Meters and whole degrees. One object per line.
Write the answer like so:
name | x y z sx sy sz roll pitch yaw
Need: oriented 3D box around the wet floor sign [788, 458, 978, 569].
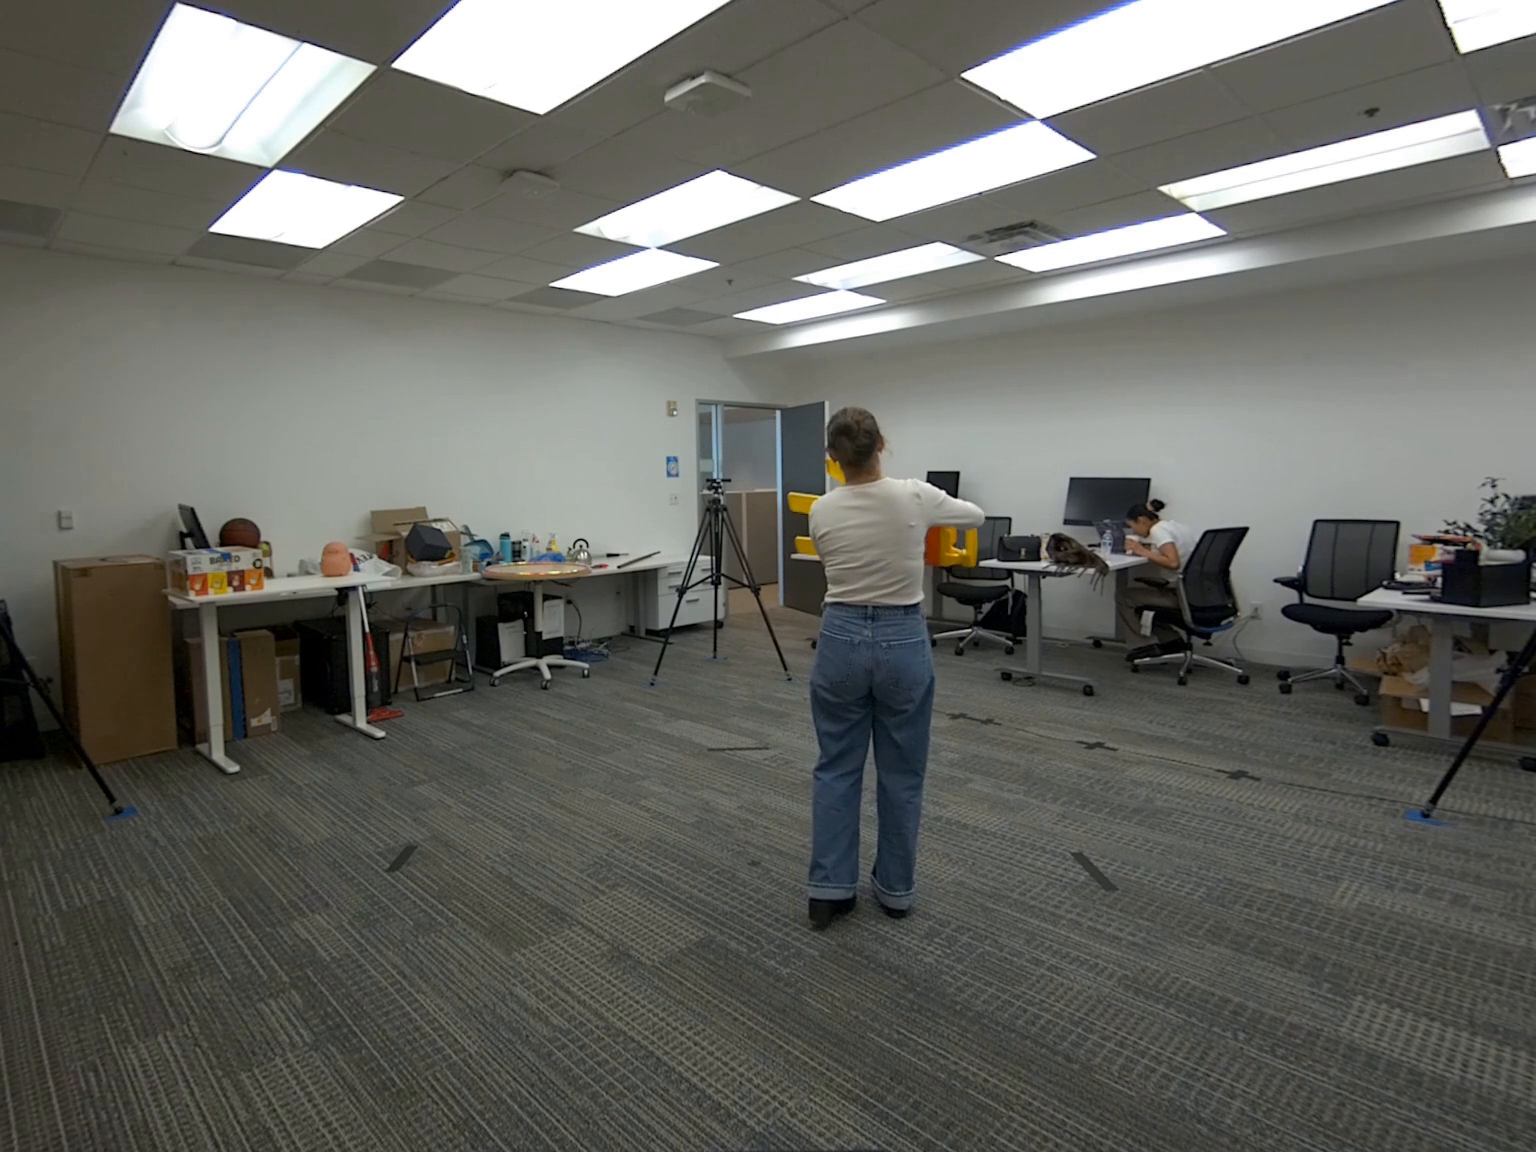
wet floor sign | 0.437 -0.182 3.071 0.667 0.274 0.289 15 42 33
